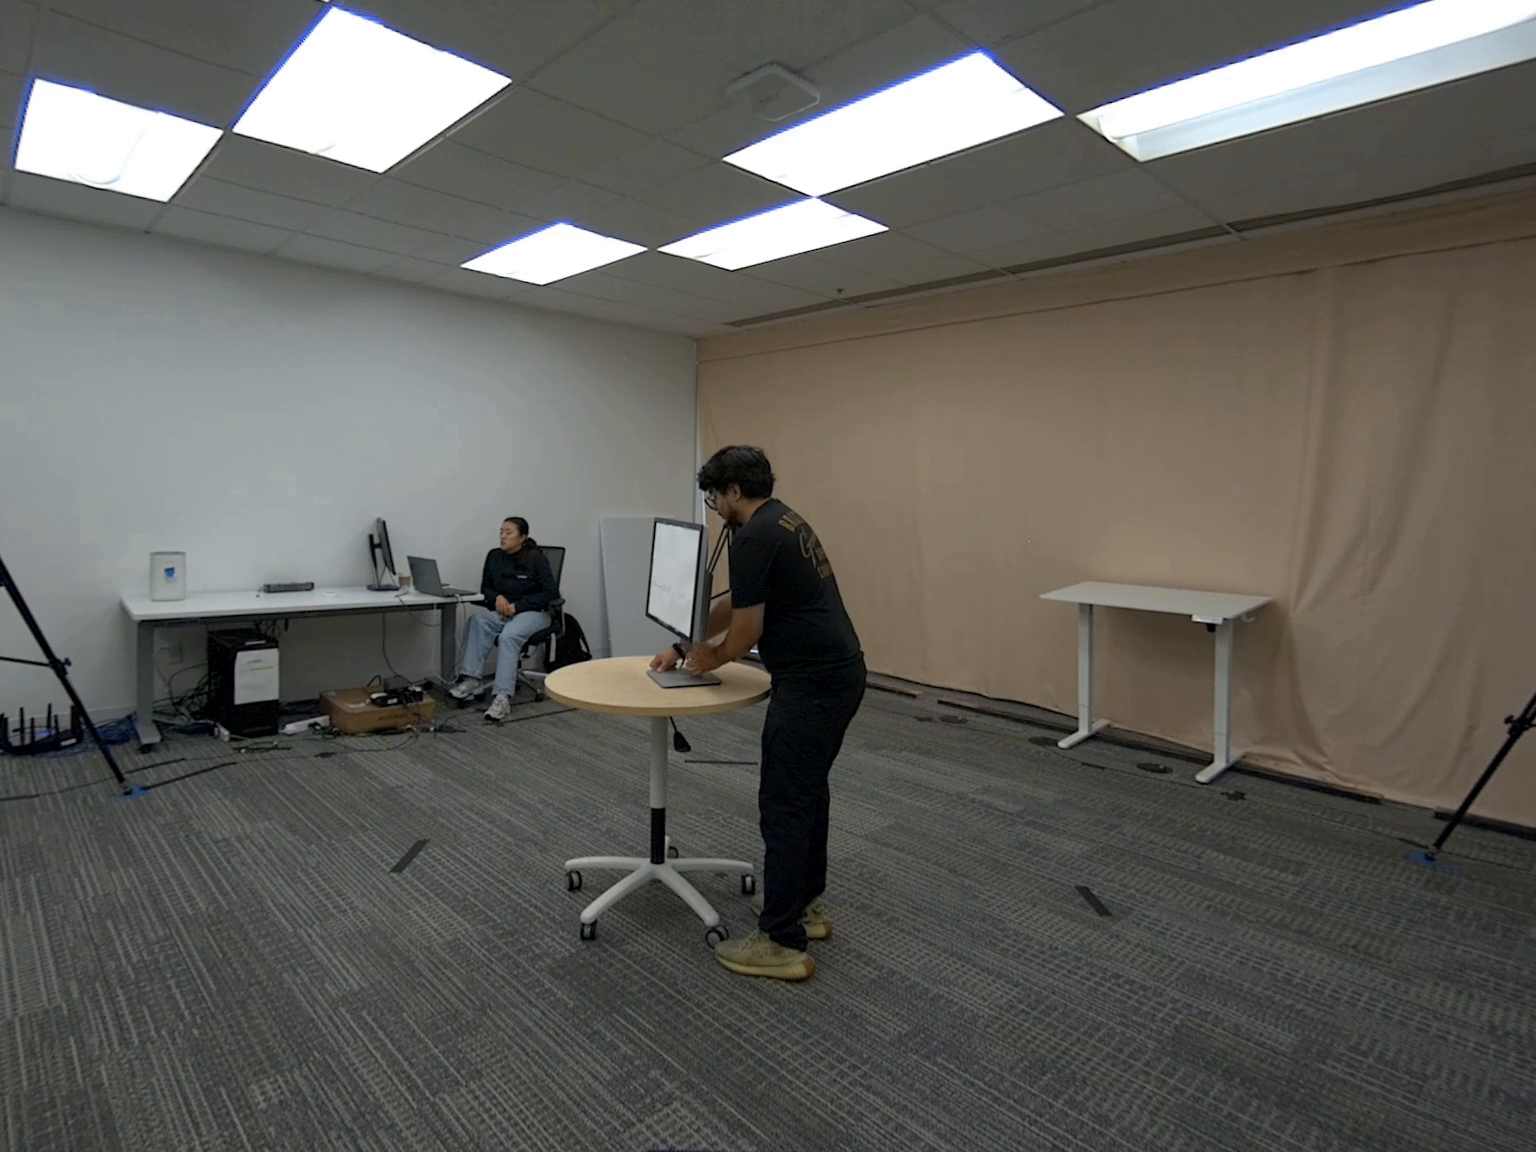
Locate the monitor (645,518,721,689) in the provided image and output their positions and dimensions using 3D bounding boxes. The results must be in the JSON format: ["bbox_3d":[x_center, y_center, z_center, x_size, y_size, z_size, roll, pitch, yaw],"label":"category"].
[{"bbox_3d":[-0.258,0.086,2.825,0.207,0.552,0.576,1,4,-21],"label":"monitor"}]
